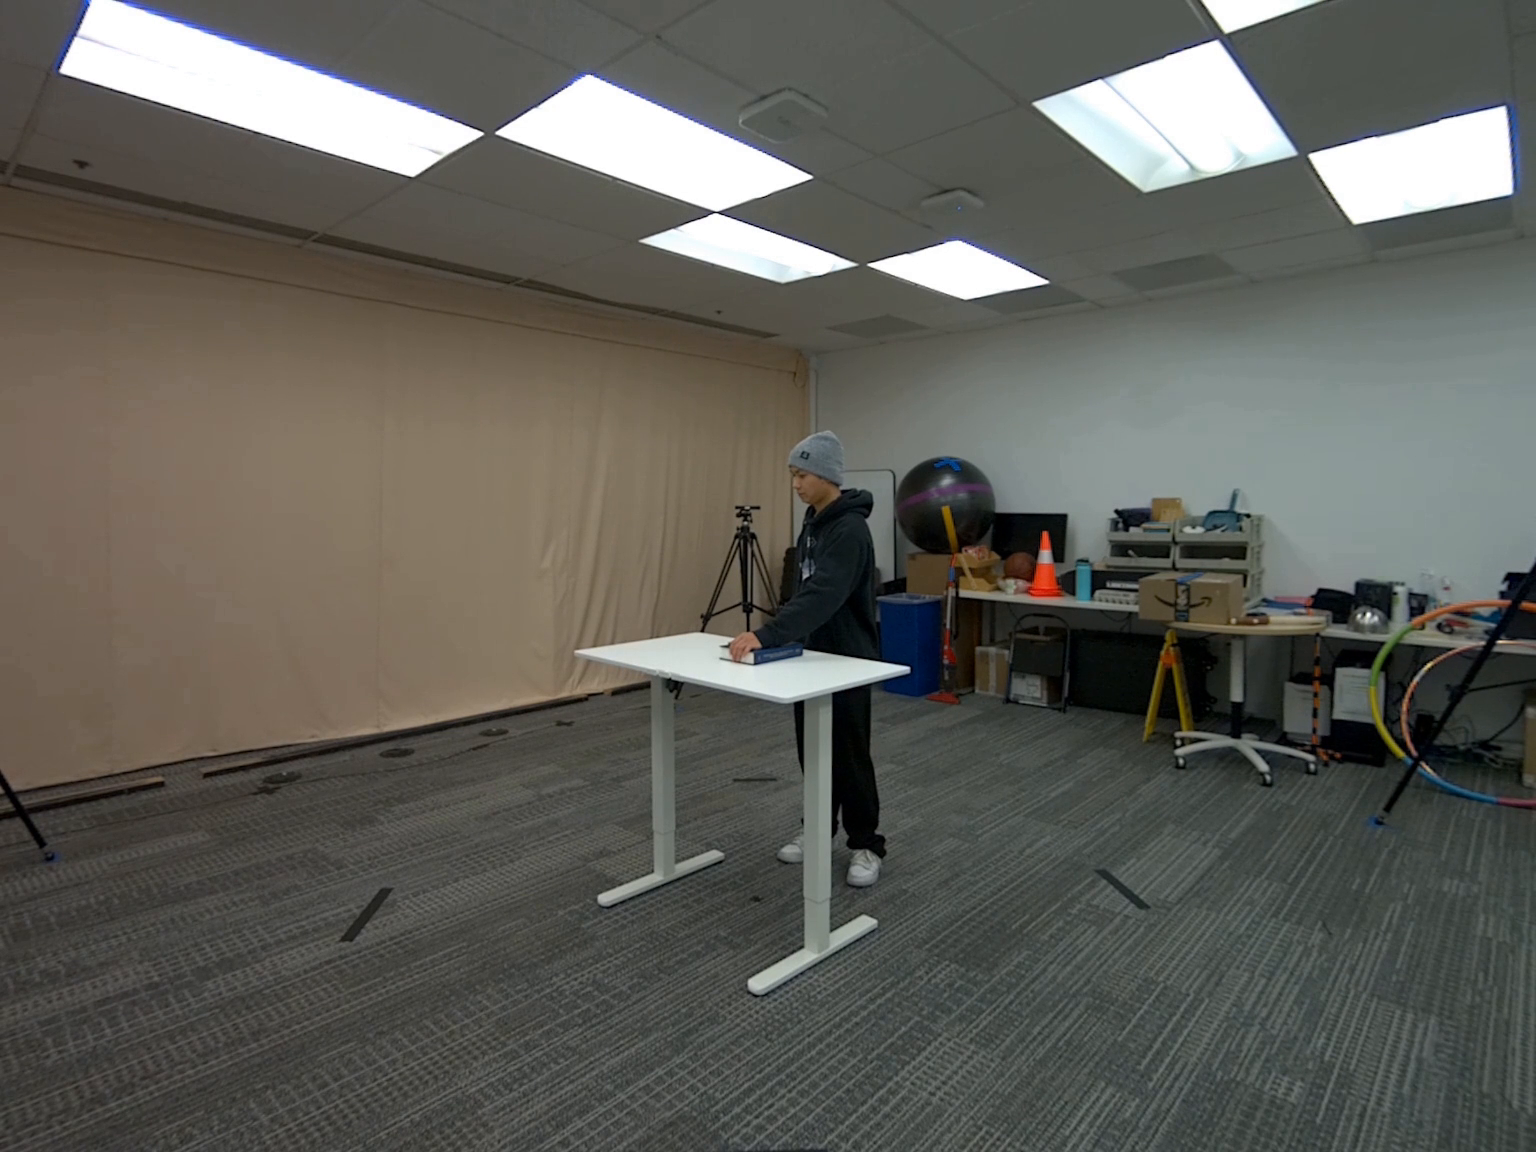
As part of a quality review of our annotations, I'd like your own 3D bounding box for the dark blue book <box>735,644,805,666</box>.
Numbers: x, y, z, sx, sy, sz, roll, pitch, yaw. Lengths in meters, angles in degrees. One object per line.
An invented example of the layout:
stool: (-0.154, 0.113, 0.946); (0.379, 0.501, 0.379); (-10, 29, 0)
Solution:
dark blue book: (-0.015, 0.253, 2.849); (0.169, 0.045, 0.238); (6, 9, 43)
